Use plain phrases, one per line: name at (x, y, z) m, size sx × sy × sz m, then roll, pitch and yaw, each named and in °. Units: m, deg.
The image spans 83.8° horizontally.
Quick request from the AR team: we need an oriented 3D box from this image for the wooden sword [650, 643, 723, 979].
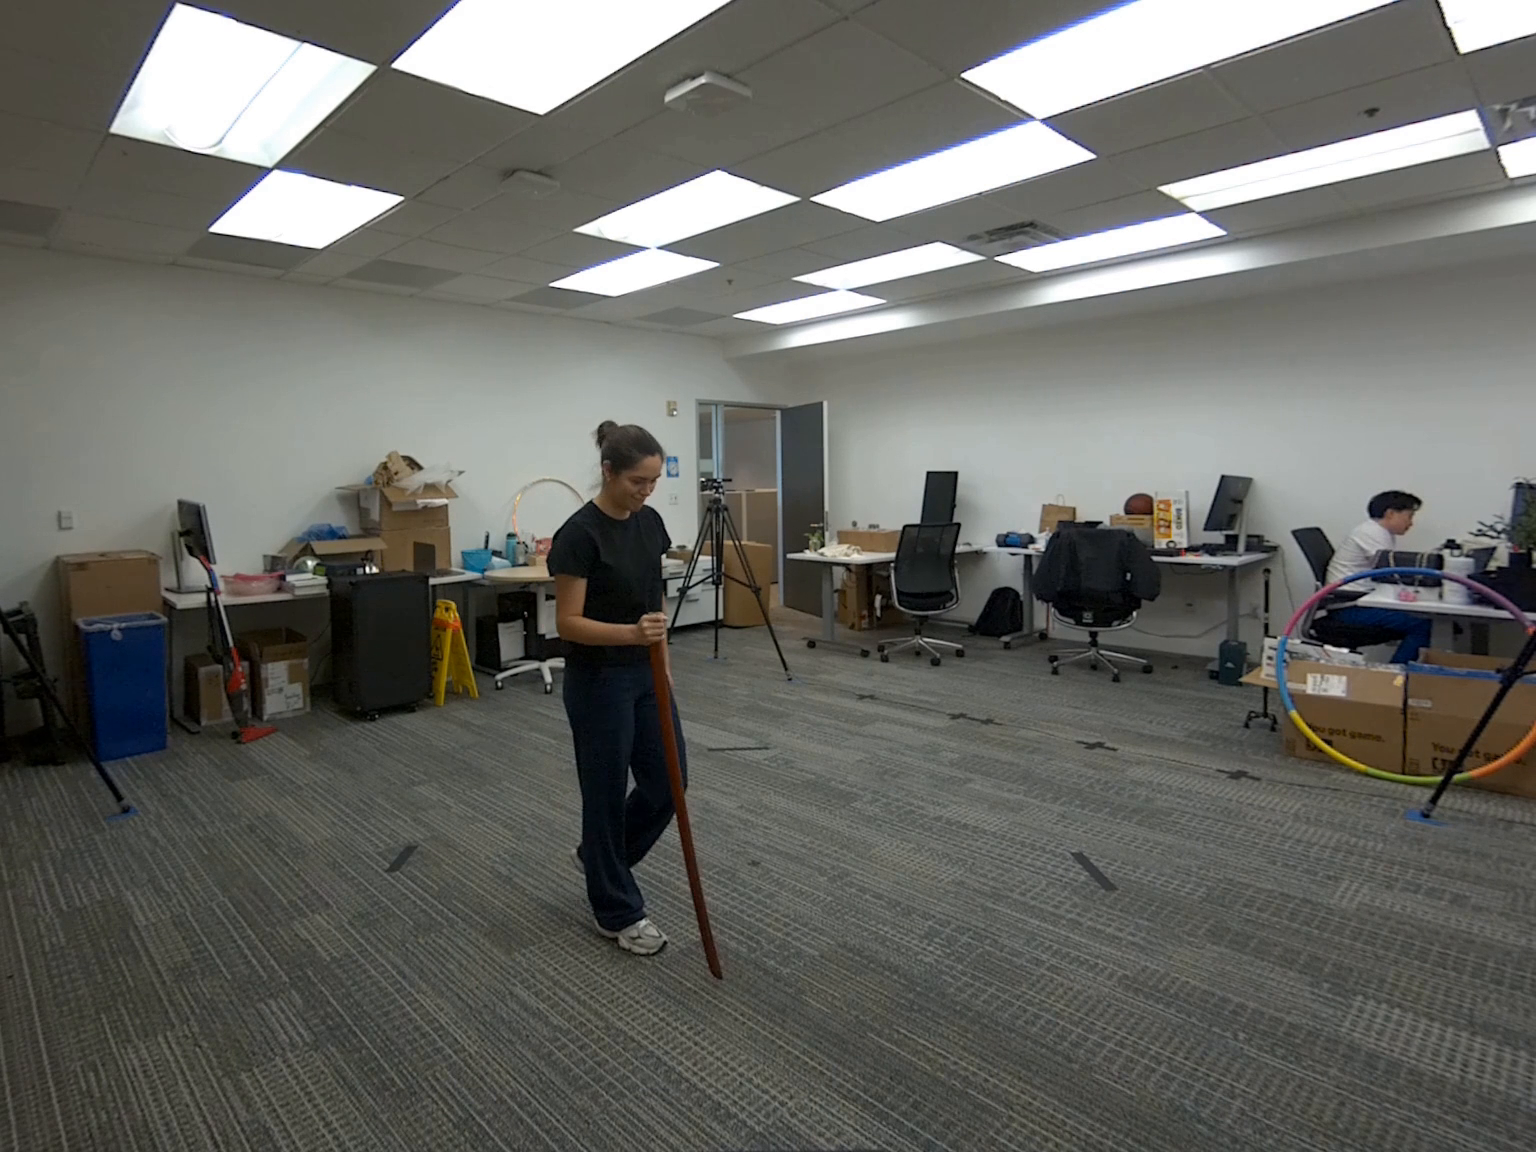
wooden sword at (-0.238, 0.607, 2.367) m, size 0.050 × 1.022 × 0.025 m, roll -11°, pitch 3°, yaw -44°
